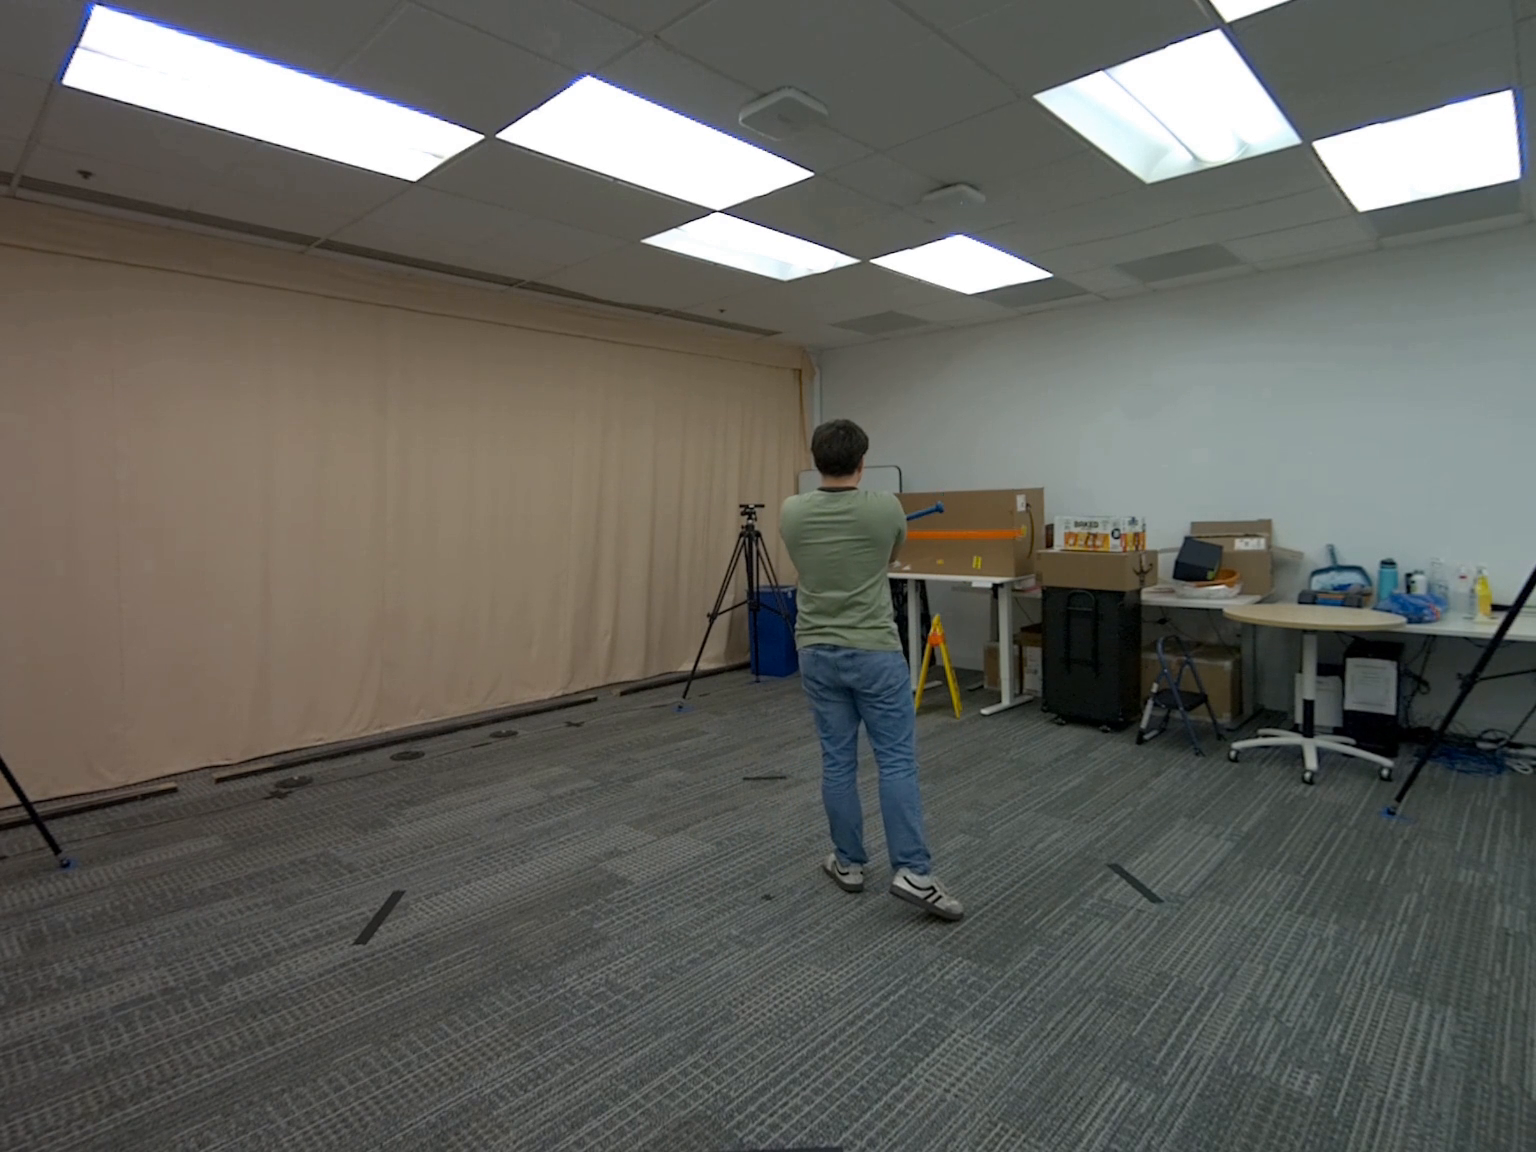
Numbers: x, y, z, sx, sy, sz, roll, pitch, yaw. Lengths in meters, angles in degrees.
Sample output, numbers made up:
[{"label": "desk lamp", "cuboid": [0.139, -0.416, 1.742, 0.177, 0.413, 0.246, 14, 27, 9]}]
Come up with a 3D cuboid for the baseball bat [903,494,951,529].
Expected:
[{"label": "baseball bat", "cuboid": [0.471, -0.213, 3.505, 0.550, 0.089, 0.088, -17, 0, 16]}]
